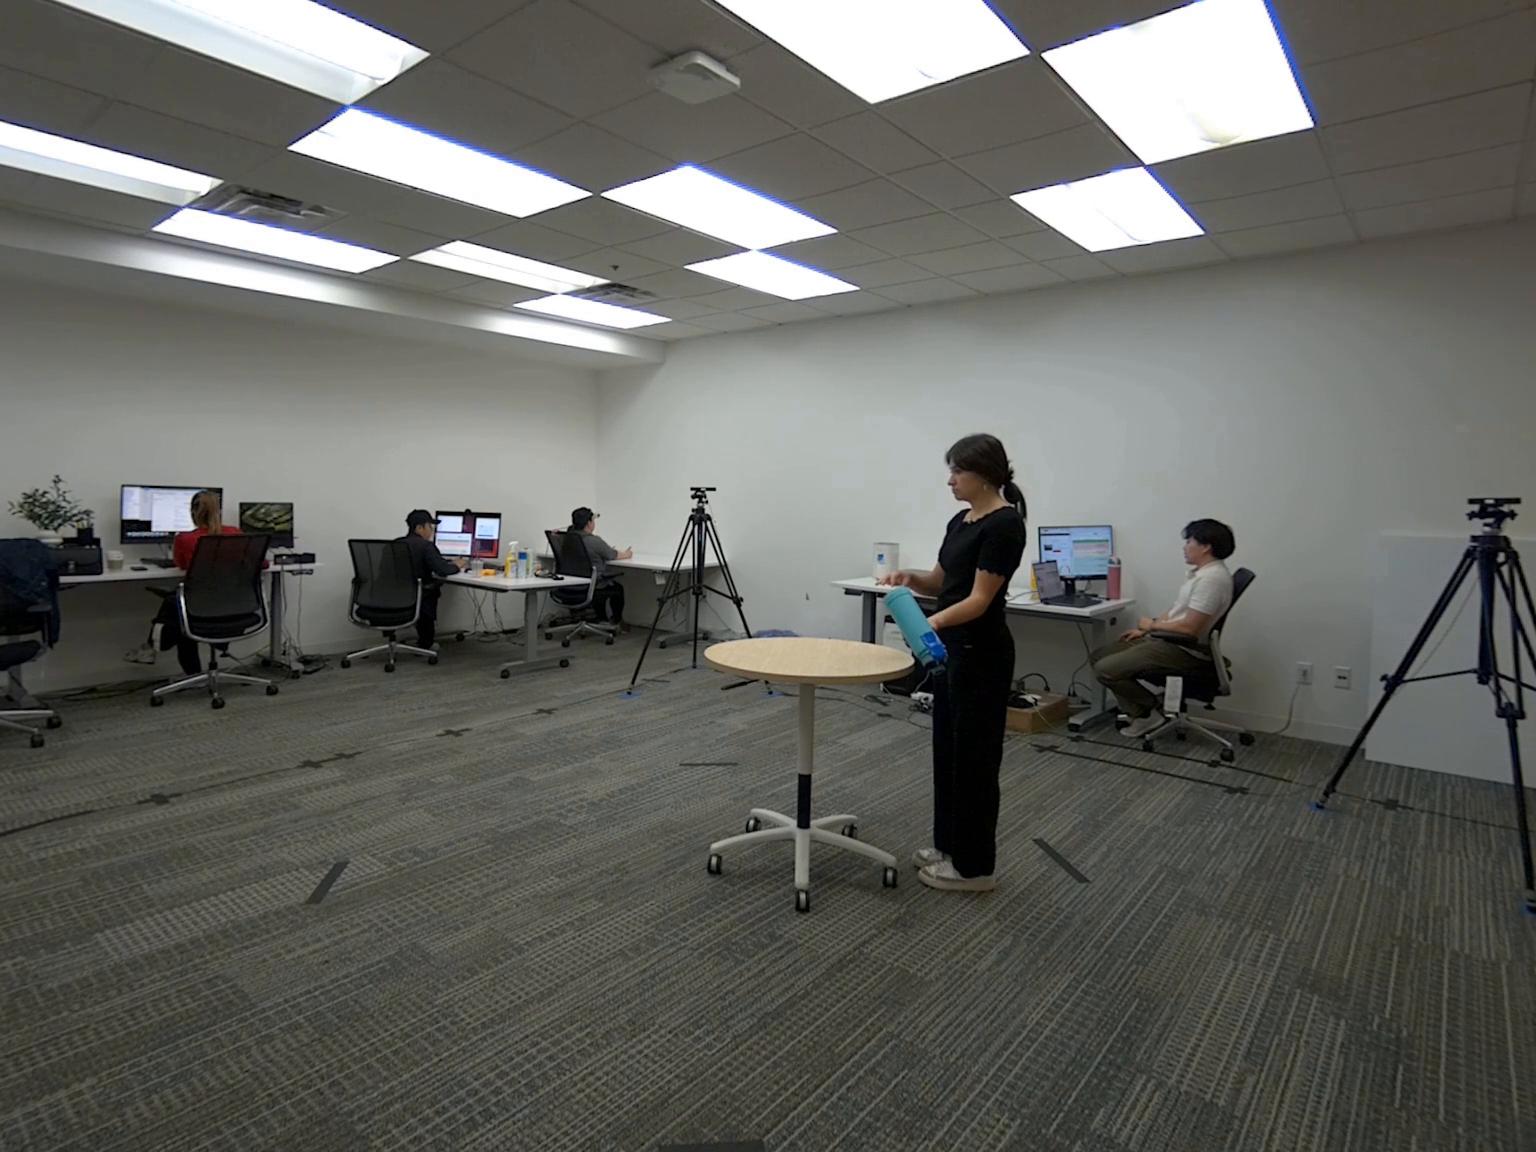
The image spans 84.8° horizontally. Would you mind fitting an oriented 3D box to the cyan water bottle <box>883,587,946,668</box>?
[{"bbox_3d":[0.457,0.154,2.639,0.091,0.294,0.090,-17,-33,-13],"label":"cyan water bottle"}]
